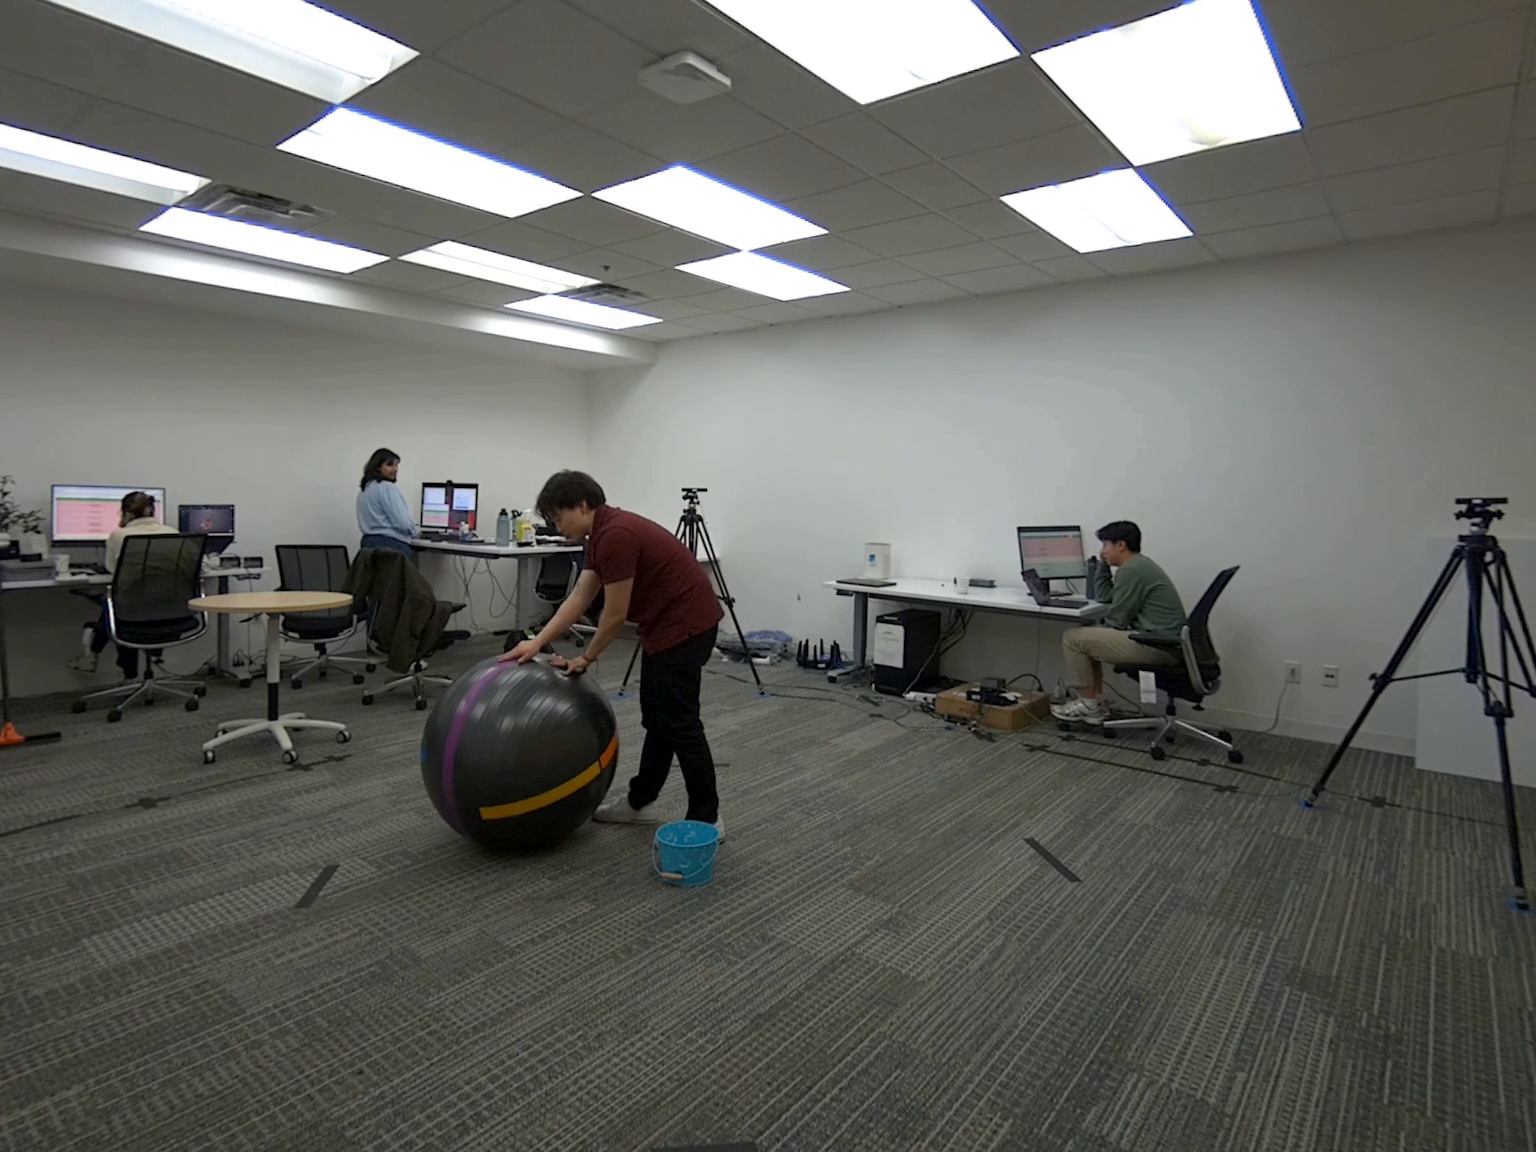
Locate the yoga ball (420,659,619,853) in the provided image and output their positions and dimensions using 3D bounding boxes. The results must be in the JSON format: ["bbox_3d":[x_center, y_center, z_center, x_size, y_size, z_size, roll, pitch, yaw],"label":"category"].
[{"bbox_3d":[-0.984,0.681,3.351,0.757,0.755,0.762,1,4,-2],"label":"yoga ball"}]
